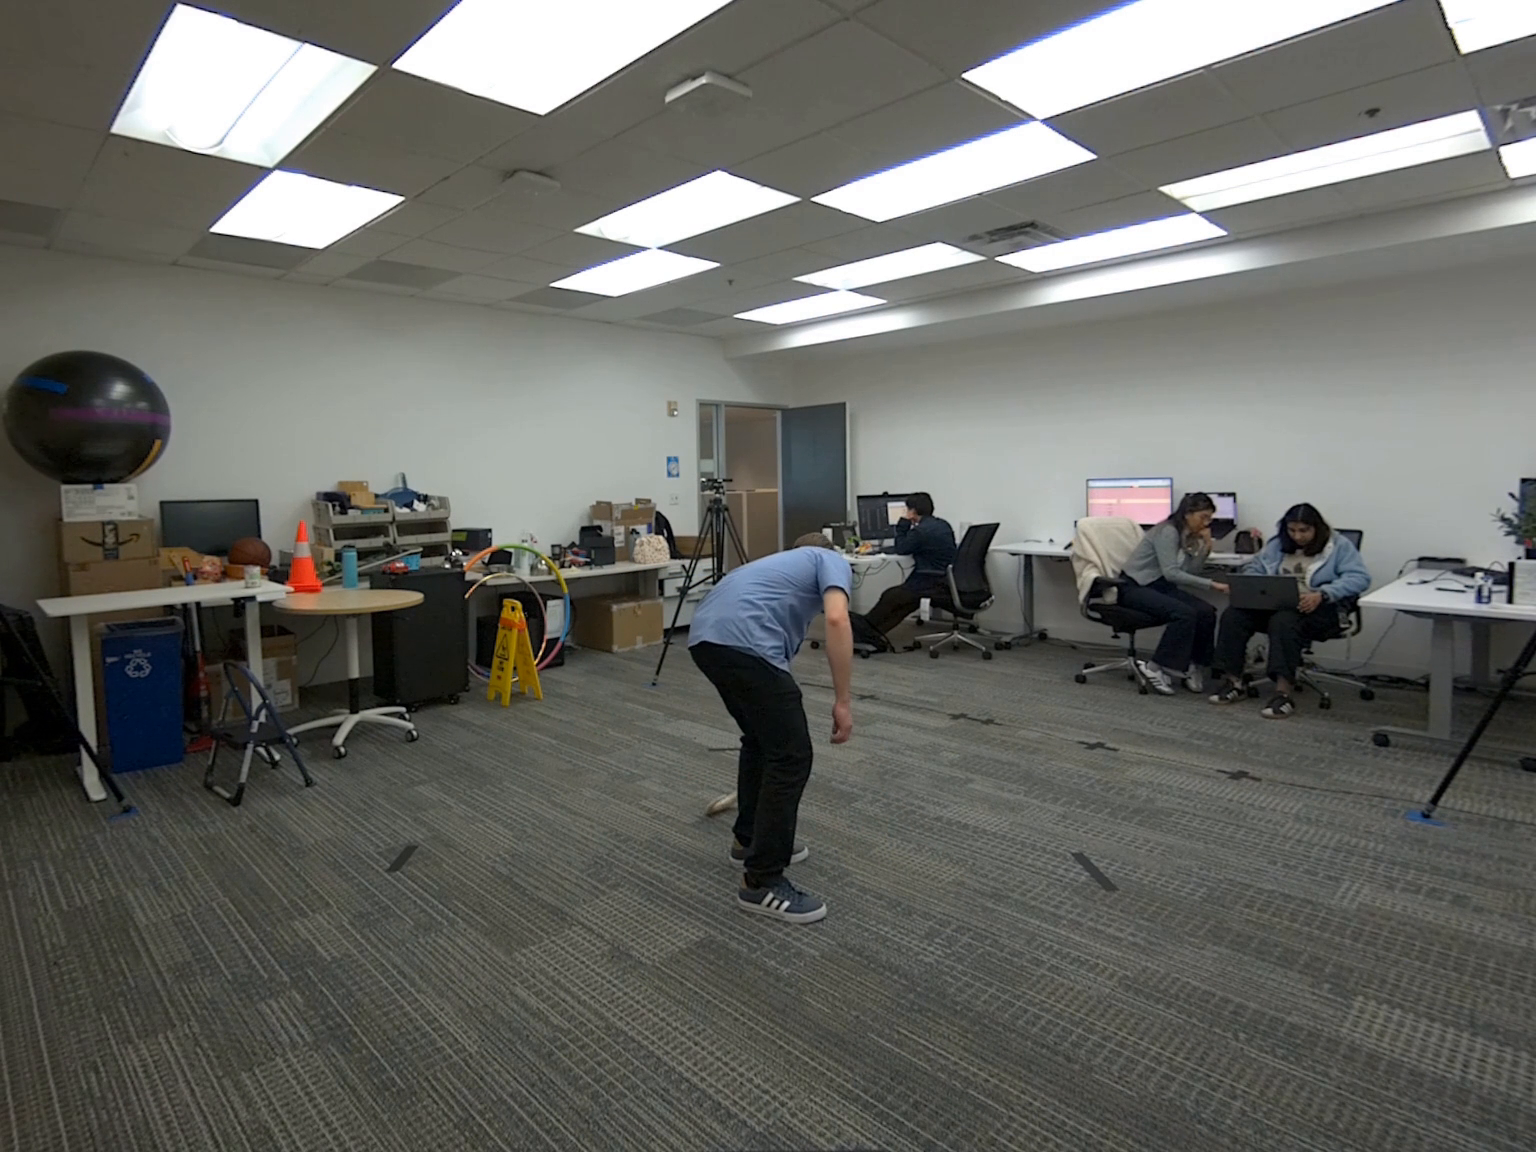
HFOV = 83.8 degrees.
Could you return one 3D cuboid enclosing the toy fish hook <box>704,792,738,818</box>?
[{"bbox_3d":[-0.078,0.845,3.466,0.219,0.049,0.506,-13,-26,-51],"label":"toy fish hook"}]
